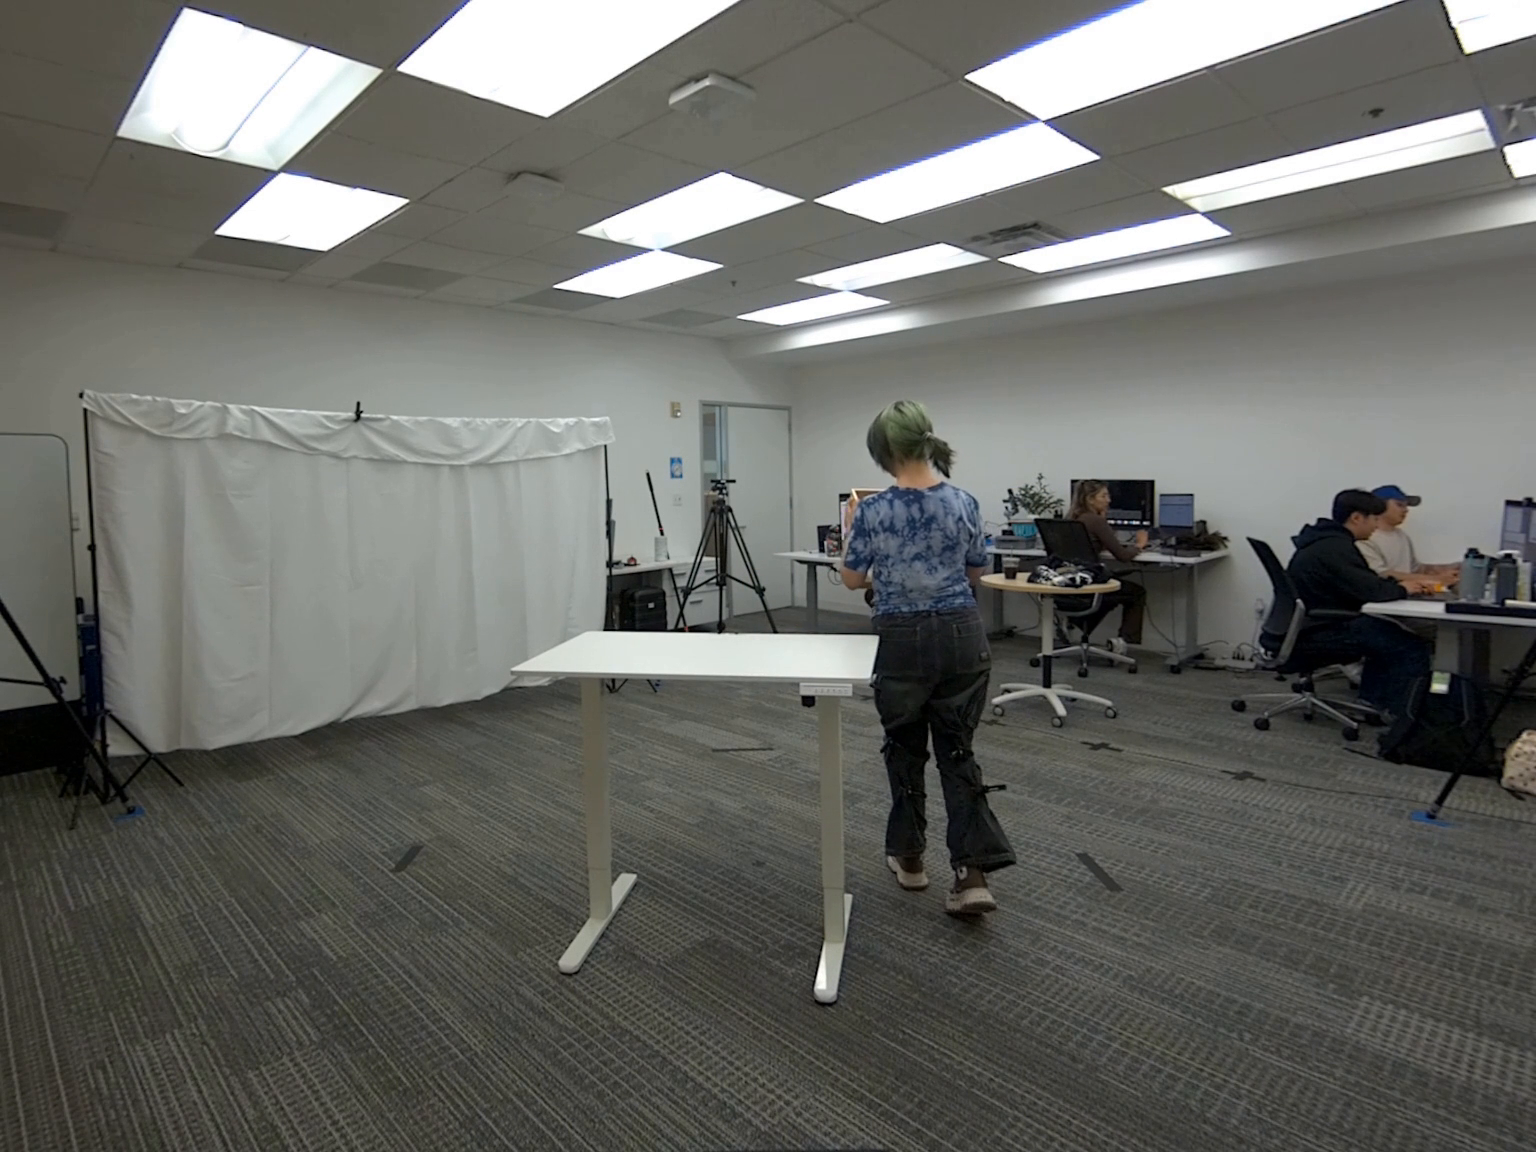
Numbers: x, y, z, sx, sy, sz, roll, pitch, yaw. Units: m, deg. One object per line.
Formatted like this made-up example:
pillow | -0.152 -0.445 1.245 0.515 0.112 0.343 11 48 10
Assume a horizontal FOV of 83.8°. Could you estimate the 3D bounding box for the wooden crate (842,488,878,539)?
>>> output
wooden crate | 0.476 -0.126 3.115 0.324 0.267 0.309 3 32 -1
